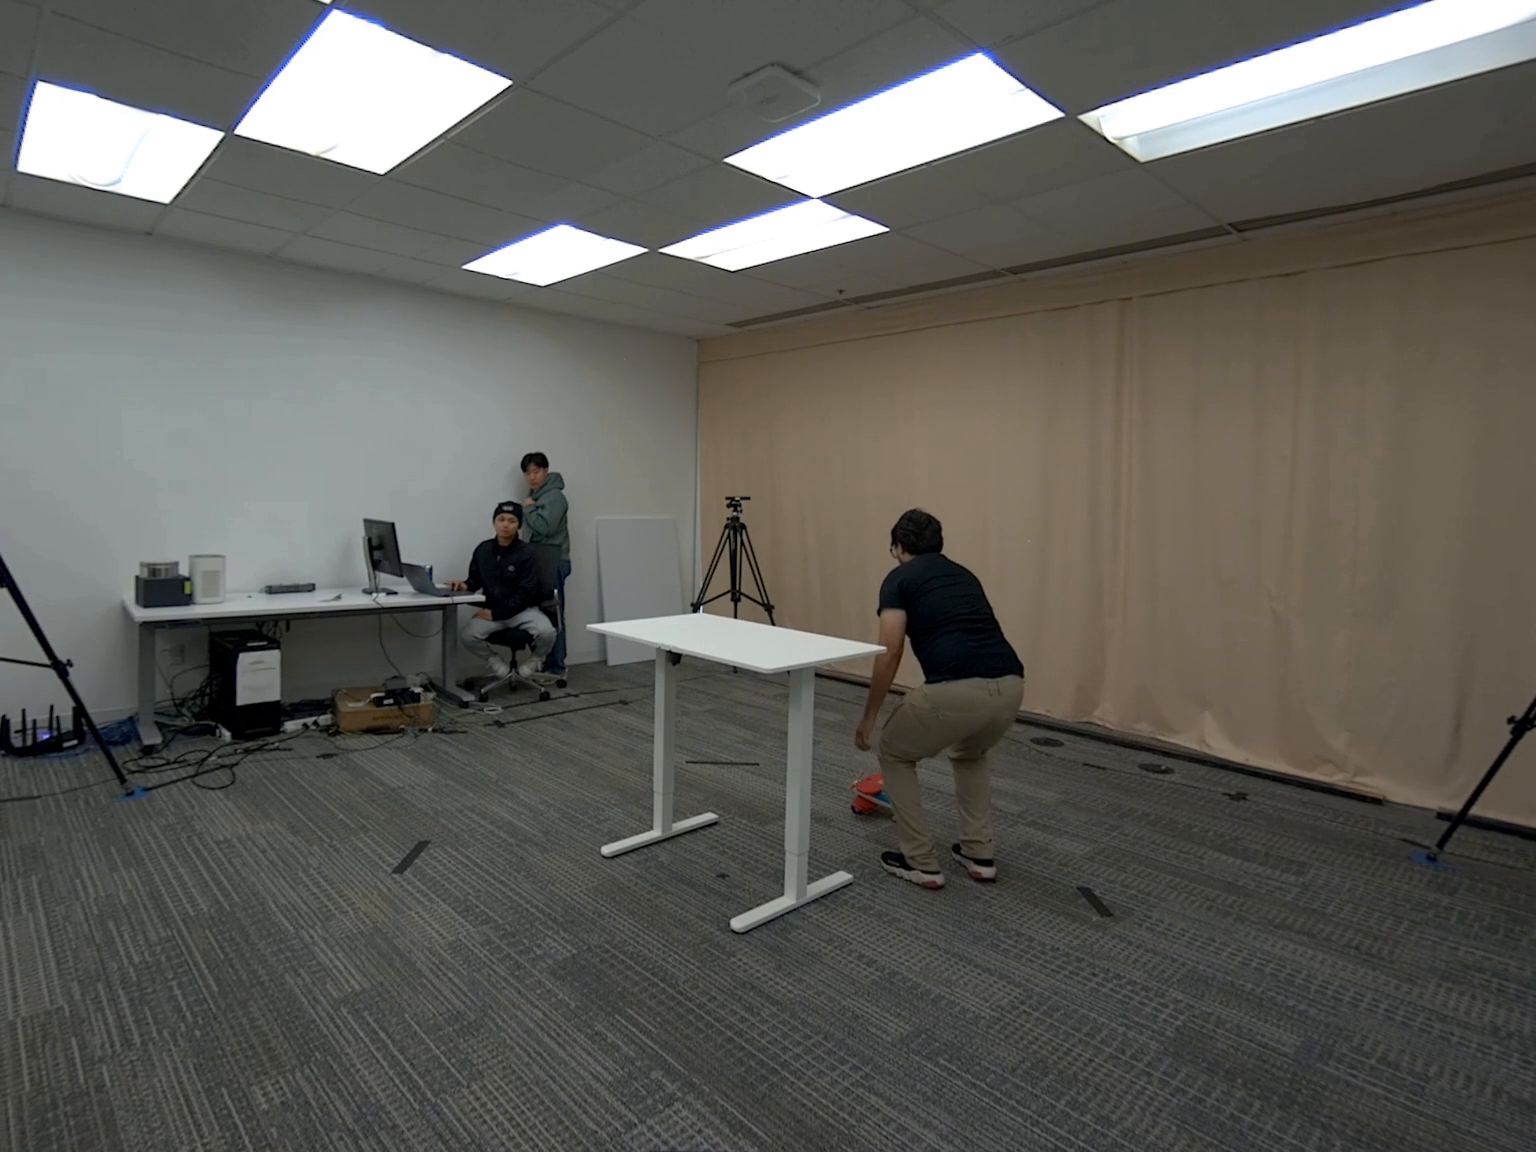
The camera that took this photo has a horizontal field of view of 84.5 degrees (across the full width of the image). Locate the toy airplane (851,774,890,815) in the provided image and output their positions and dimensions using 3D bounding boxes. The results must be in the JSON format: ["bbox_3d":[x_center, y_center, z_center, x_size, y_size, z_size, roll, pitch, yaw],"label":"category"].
[{"bbox_3d":[0.497,0.989,3.773,0.261,0.156,0.250,0,3,7],"label":"toy airplane"}]
